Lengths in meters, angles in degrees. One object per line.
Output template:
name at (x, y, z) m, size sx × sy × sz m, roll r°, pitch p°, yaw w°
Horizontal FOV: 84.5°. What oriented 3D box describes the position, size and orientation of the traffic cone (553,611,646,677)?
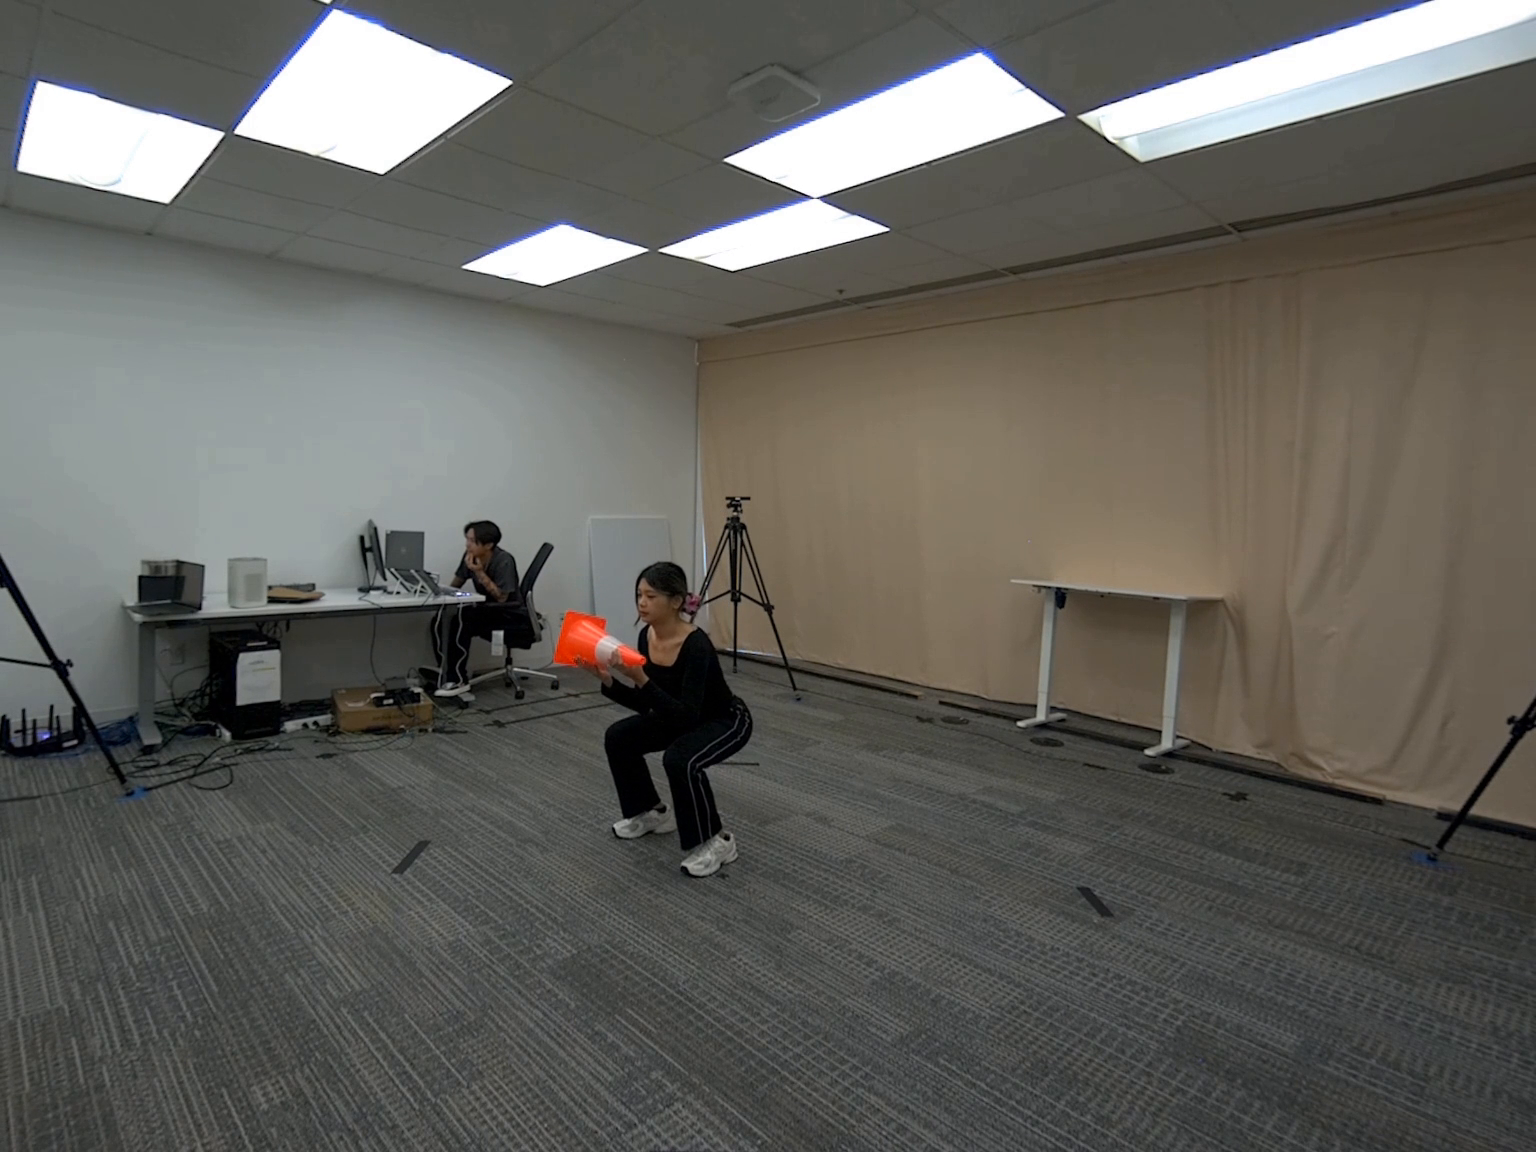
traffic cone at (-0.577, 0.268, 3.034) m, size 0.394 × 0.206 × 0.197 m, roll 10°, pitch -9°, yaw 43°
